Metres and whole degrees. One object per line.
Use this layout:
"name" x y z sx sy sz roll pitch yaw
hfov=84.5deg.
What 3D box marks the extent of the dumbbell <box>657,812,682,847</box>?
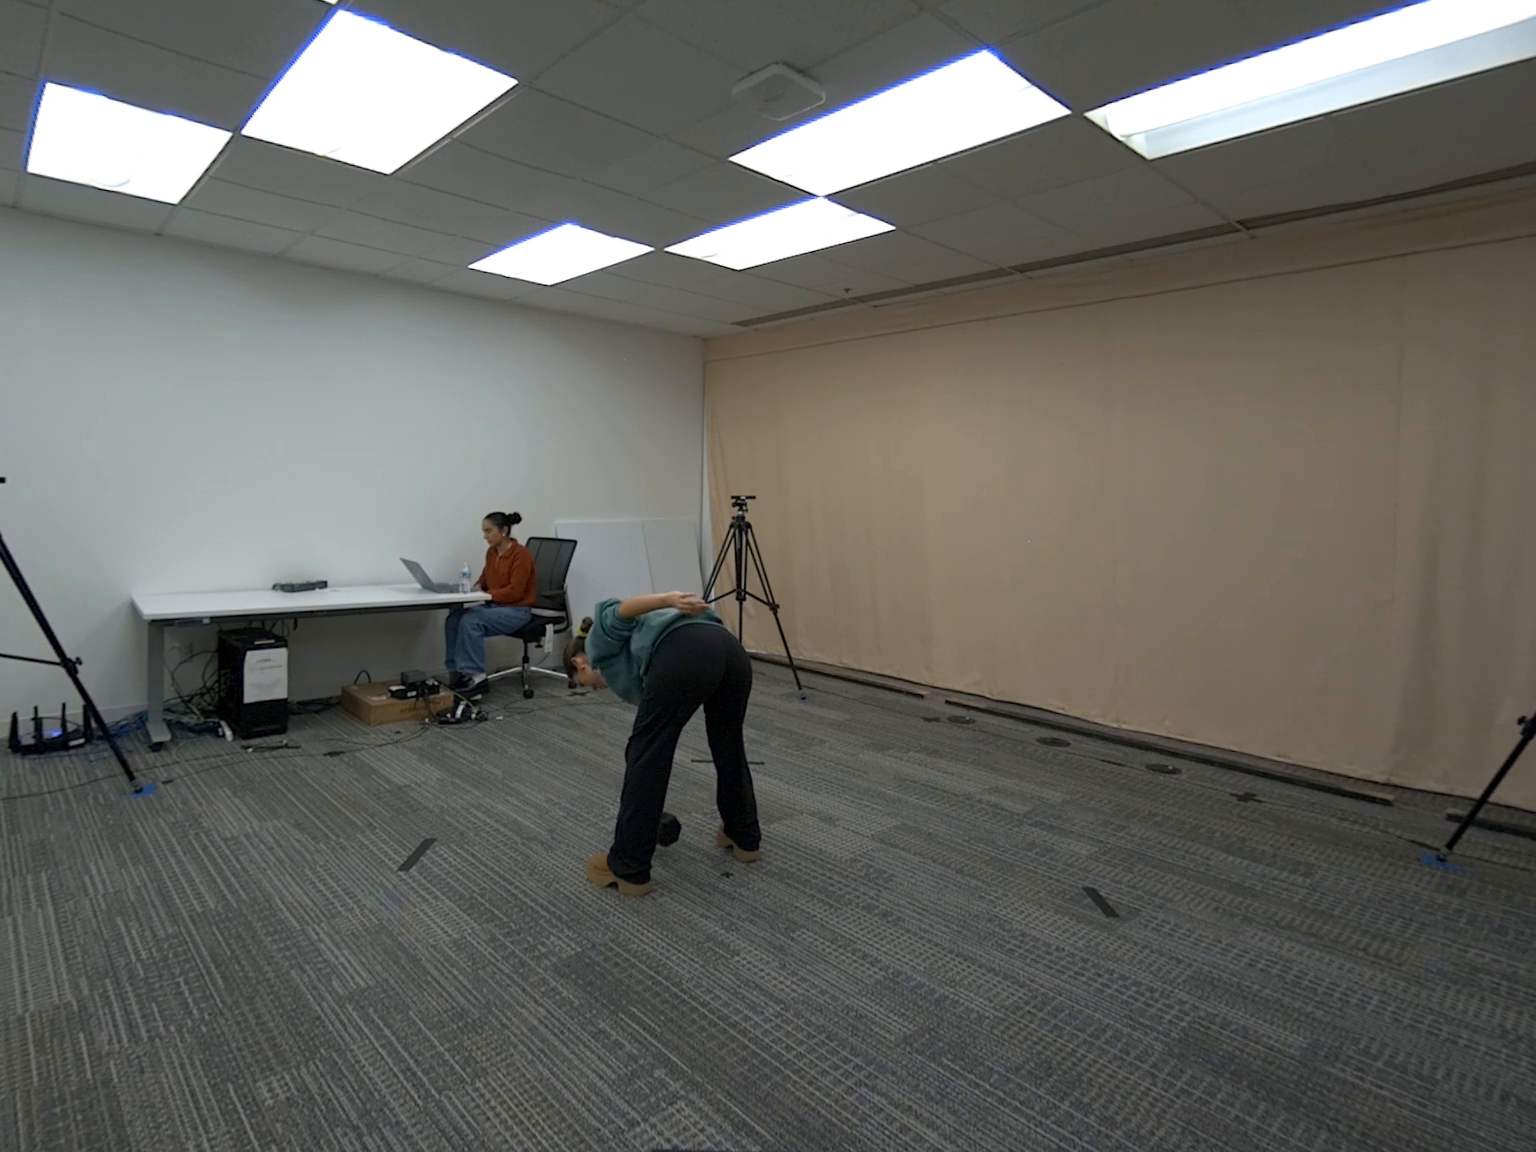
"dumbbell" -0.474 0.963 3.332 0.121 0.108 0.301 -13 13 -41
